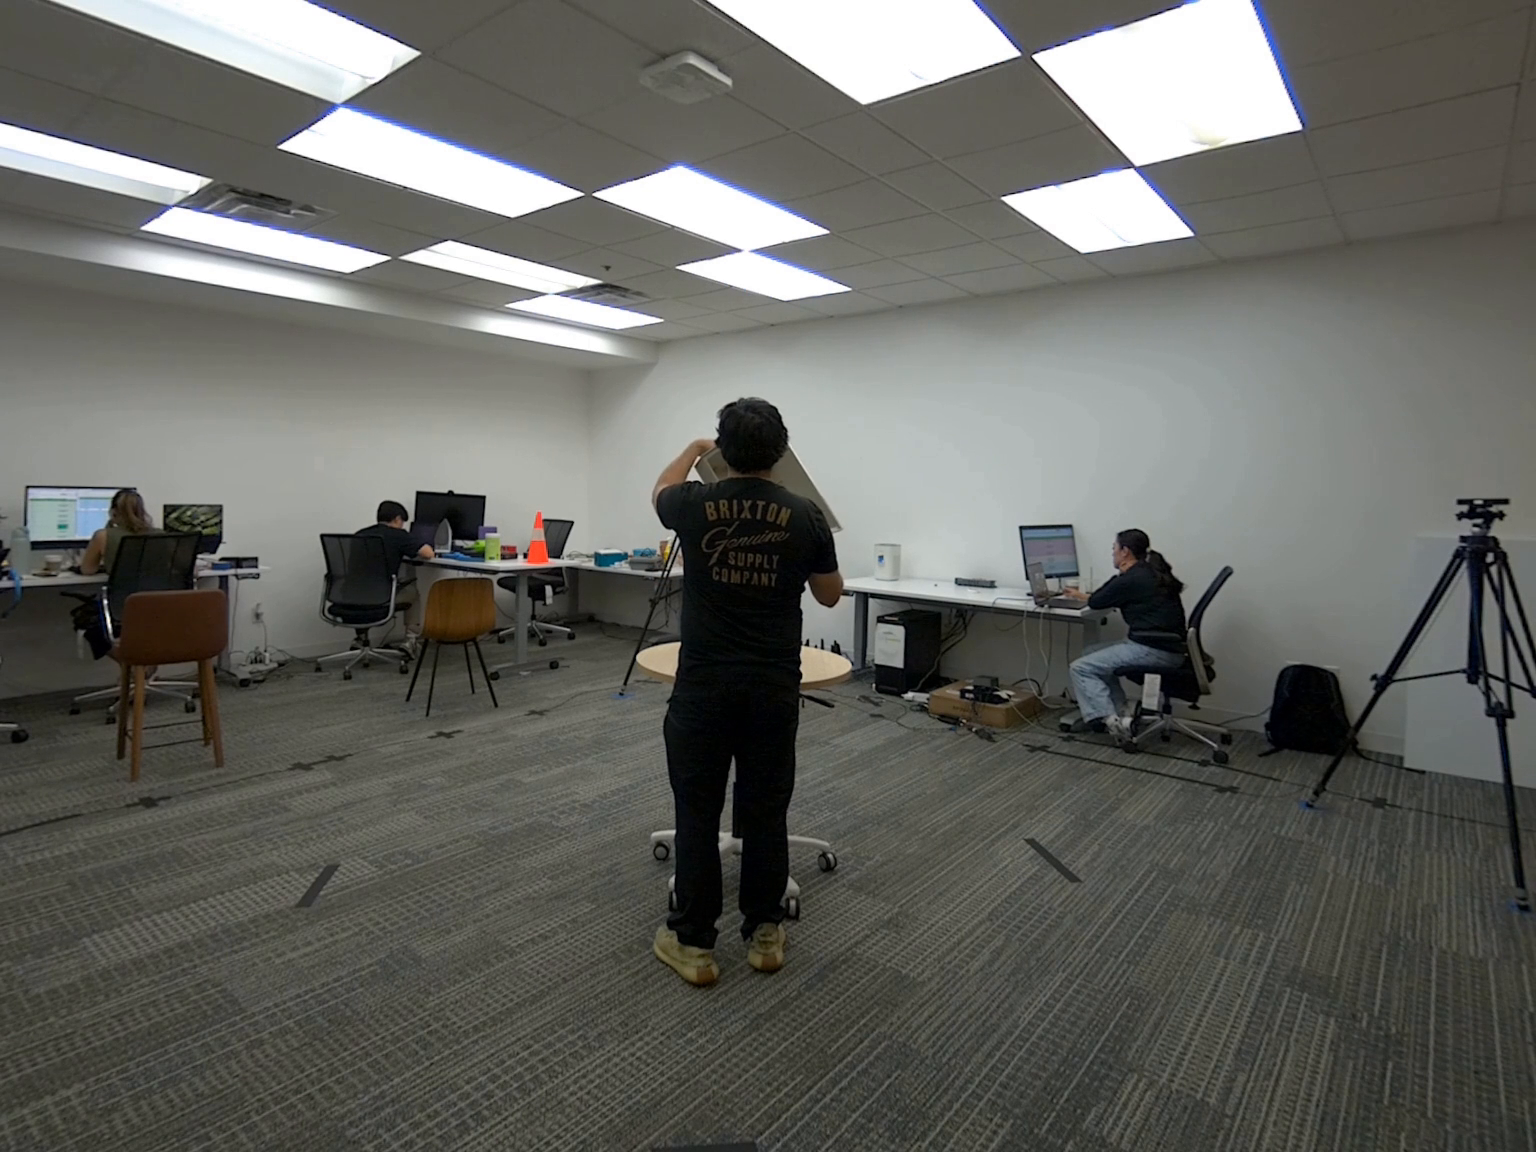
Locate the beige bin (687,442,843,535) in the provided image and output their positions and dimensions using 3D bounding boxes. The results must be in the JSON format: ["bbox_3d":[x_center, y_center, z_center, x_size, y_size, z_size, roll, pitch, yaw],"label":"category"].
[{"bbox_3d":[-0.013,-0.261,2.919,0.190,0.429,0.369,-41,-13,35],"label":"beige bin"}]
